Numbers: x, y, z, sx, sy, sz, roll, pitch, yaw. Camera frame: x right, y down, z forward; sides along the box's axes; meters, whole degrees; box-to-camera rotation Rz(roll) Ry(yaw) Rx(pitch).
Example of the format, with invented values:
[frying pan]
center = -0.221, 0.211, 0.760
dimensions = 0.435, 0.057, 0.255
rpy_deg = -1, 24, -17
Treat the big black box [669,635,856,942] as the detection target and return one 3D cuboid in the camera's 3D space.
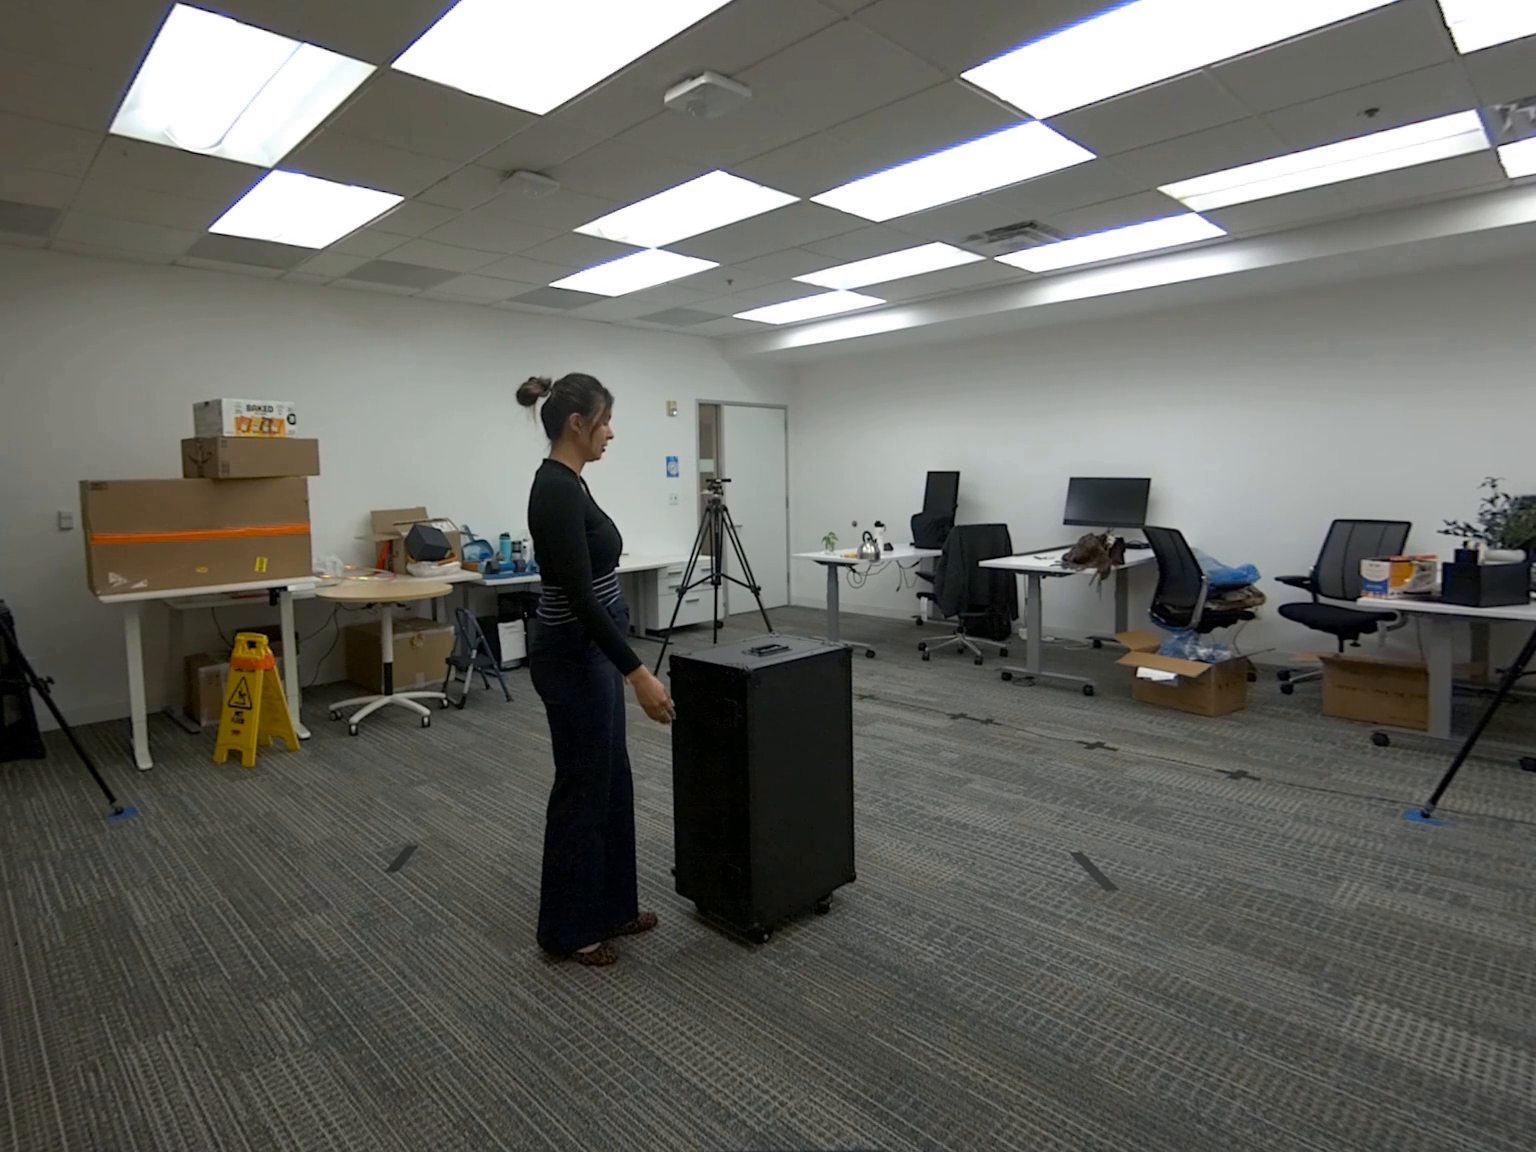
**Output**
[big black box]
center = -0.016, 0.602, 2.768
dimensions = 0.507, 0.858, 0.408
rpy_deg = -5, 5, -44
